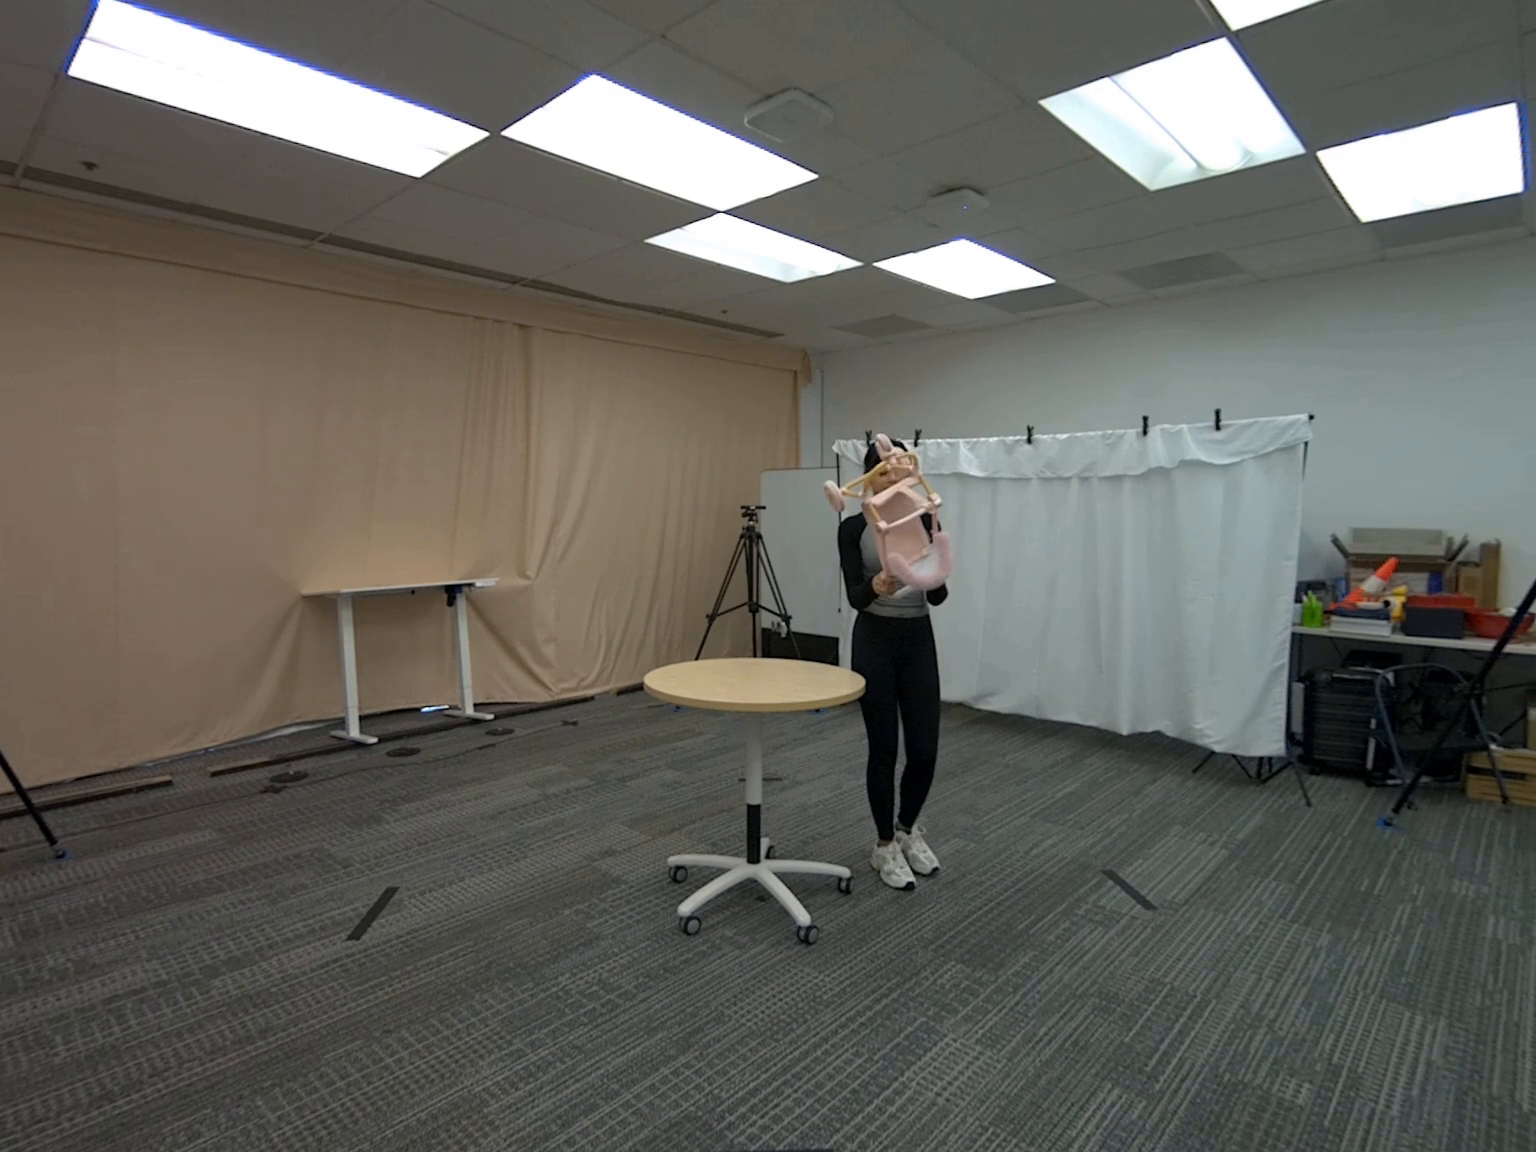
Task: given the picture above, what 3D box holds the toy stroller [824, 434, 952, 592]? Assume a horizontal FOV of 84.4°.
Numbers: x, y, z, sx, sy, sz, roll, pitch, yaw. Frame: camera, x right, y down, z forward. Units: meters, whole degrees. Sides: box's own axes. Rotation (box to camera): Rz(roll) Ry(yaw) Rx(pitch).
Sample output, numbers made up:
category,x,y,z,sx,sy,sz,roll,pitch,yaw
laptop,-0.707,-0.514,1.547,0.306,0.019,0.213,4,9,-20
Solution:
category,x,y,z,sx,sy,sz,roll,pitch,yaw
toy stroller,0.420,-0.184,2.639,0.278,0.533,0.346,-27,4,-16
